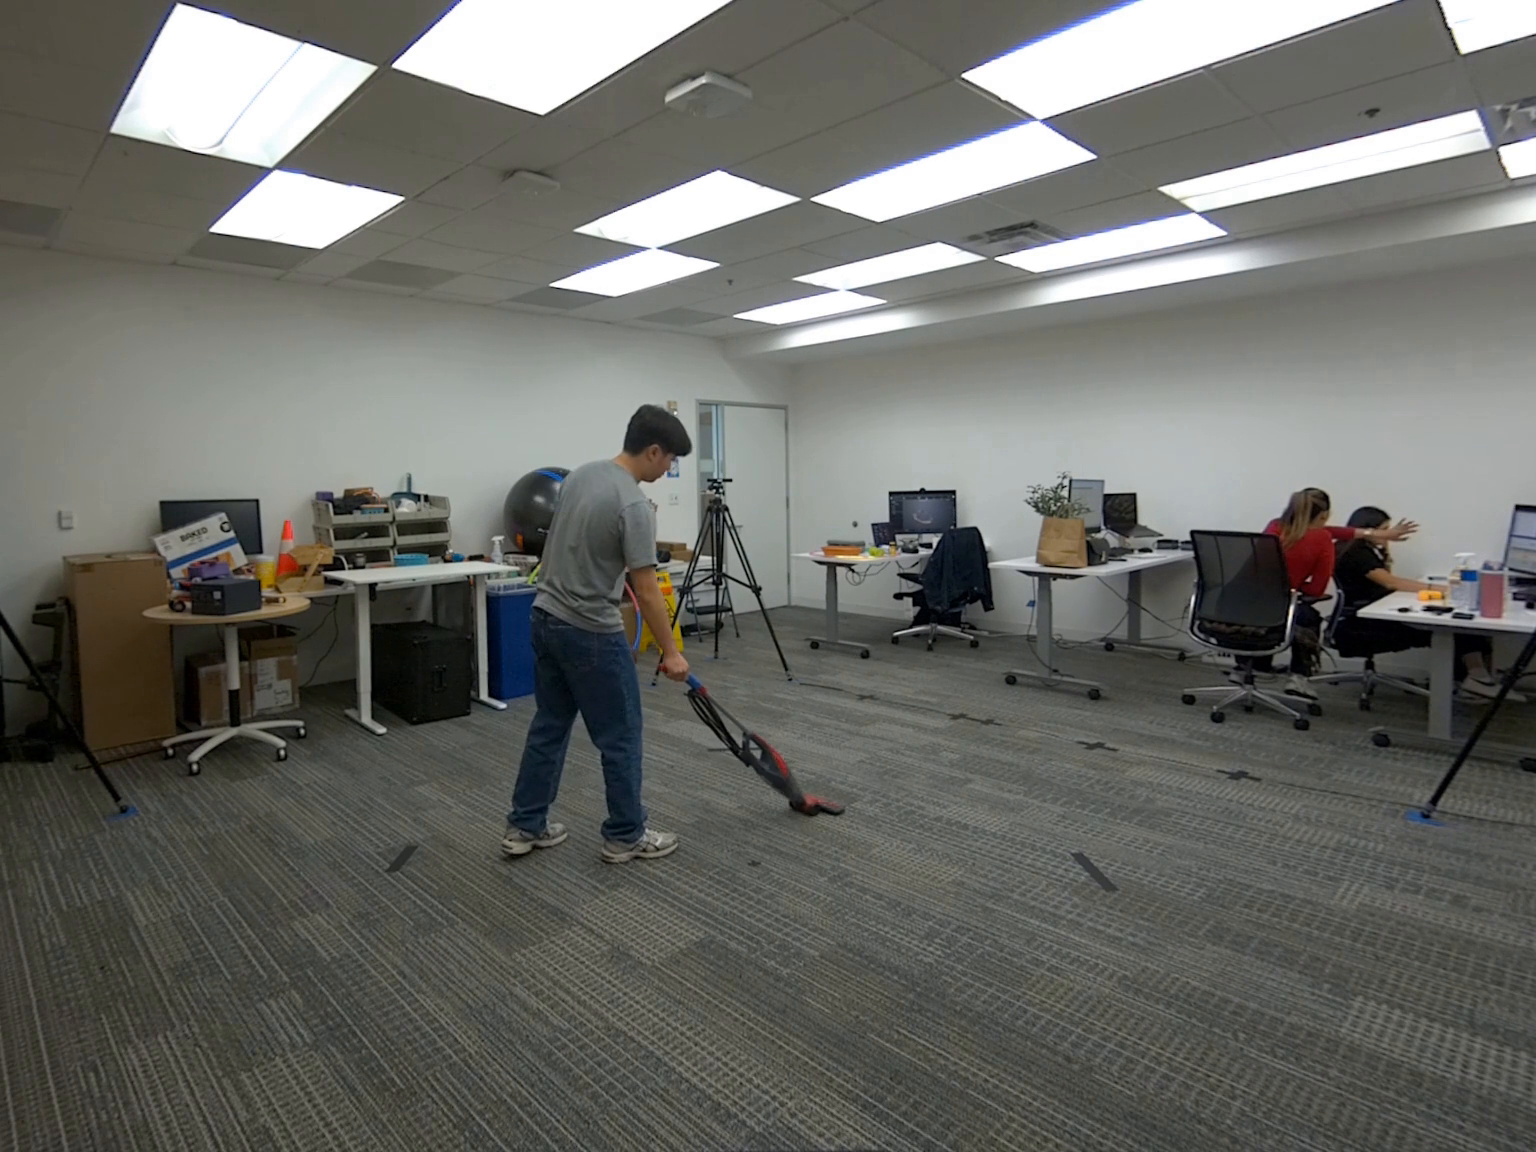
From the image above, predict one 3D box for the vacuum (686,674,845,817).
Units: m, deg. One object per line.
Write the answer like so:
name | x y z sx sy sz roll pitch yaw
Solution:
vacuum | -0.092 0.656 3.351 0.260 0.145 1.013 -1 -40 46
